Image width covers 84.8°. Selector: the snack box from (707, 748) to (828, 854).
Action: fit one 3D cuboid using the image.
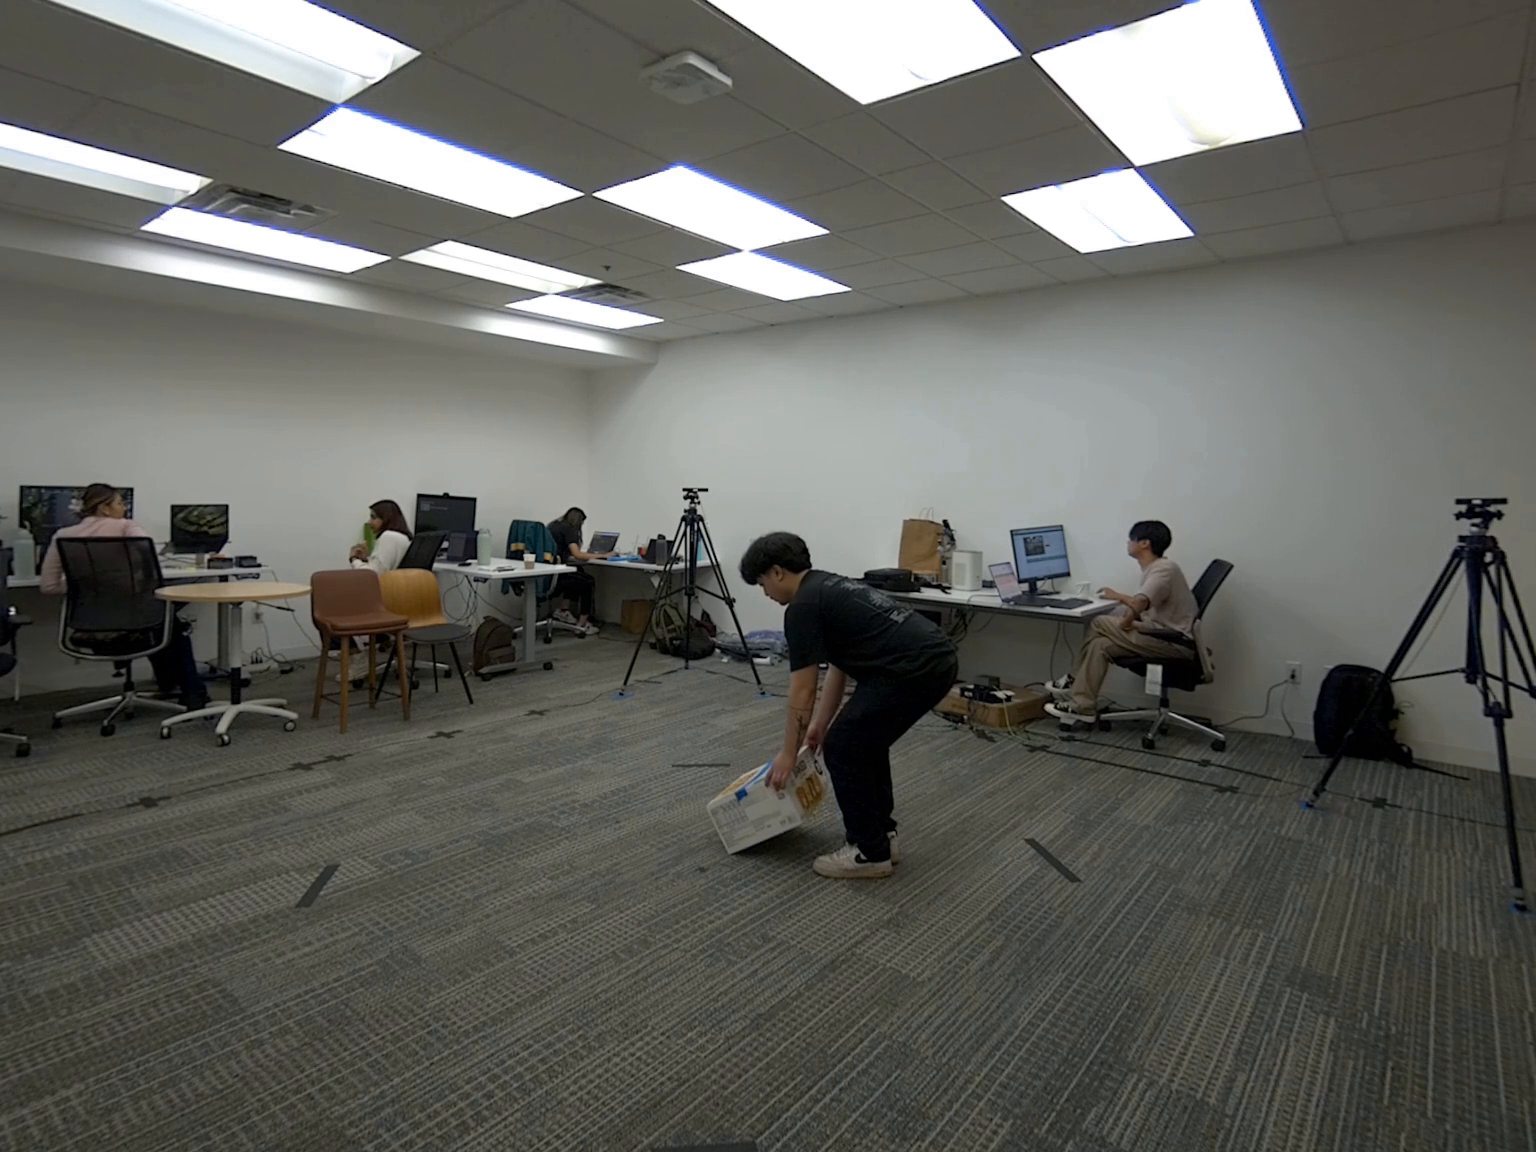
[{"bbox_3d":[0.002,0.876,3.377,0.343,0.208,0.398,-29,-6,20],"label":"snack box"}]
